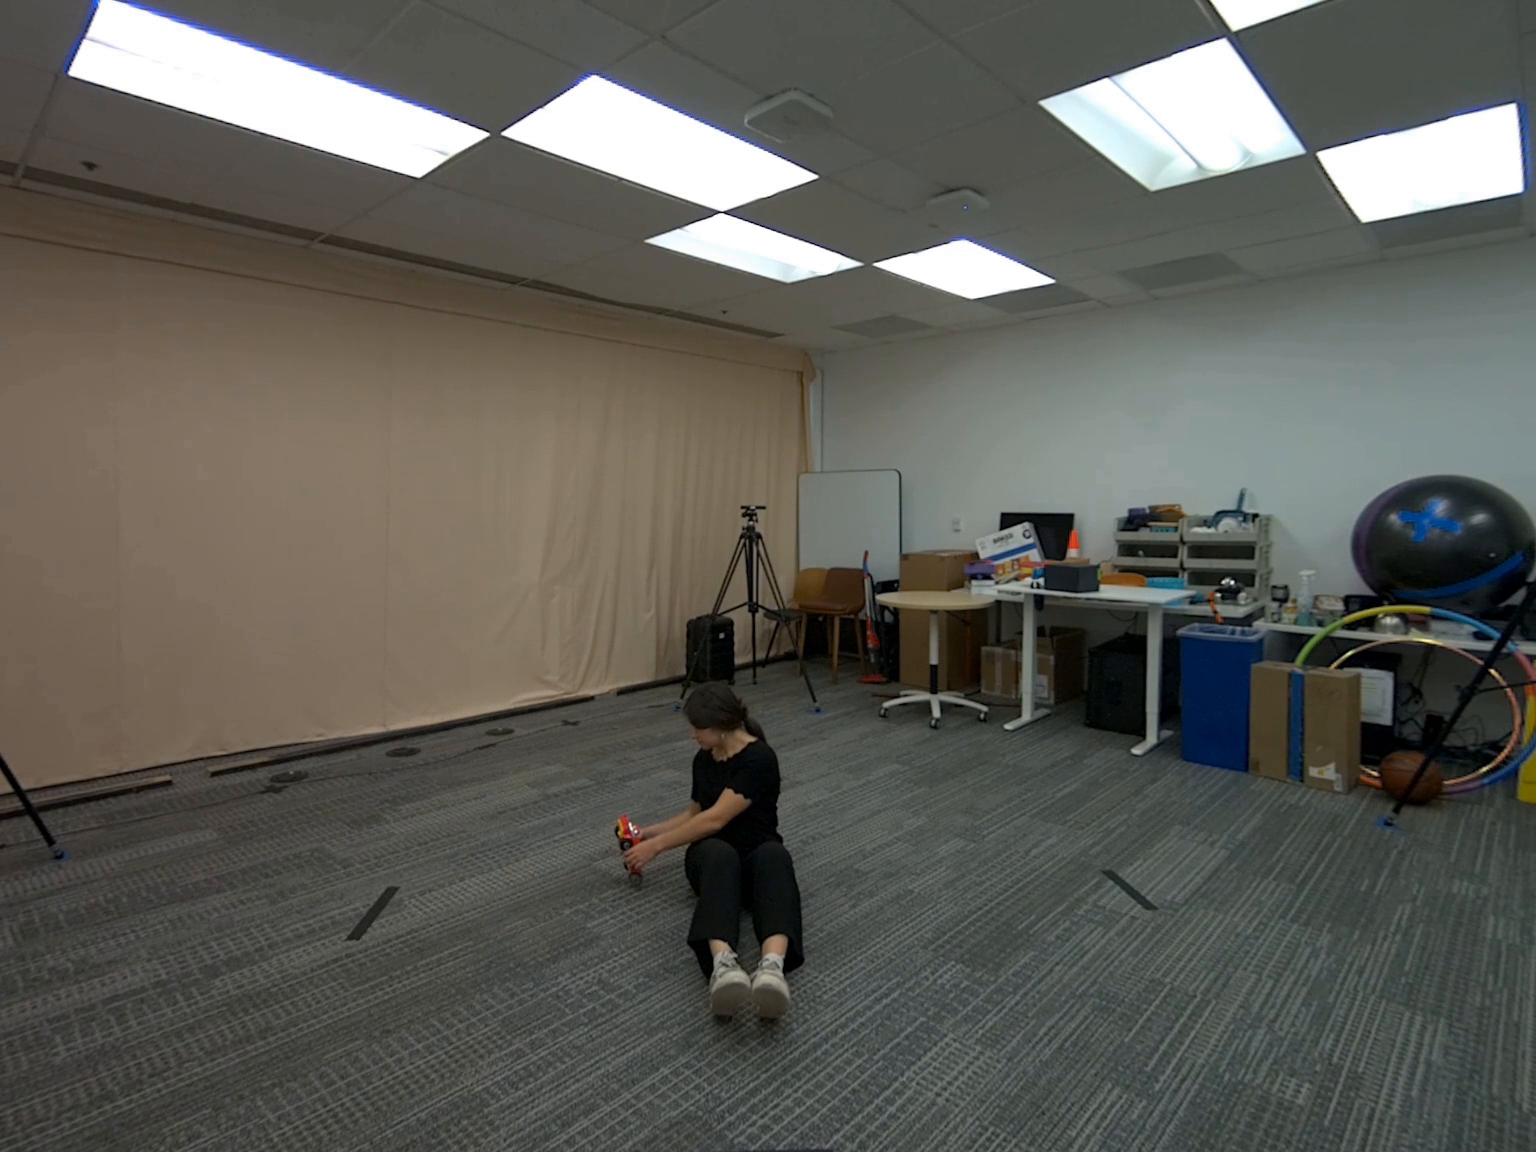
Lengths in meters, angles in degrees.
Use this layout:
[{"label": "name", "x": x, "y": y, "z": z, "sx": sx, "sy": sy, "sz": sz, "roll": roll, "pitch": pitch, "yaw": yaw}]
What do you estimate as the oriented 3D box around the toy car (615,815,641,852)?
[{"label": "toy car", "x": -0.512, "y": 1.007, "z": 3.086, "sx": 0.082, "sy": 0.253, "sz": 0.133, "roll": -4, "pitch": 12, "yaw": -19}]
